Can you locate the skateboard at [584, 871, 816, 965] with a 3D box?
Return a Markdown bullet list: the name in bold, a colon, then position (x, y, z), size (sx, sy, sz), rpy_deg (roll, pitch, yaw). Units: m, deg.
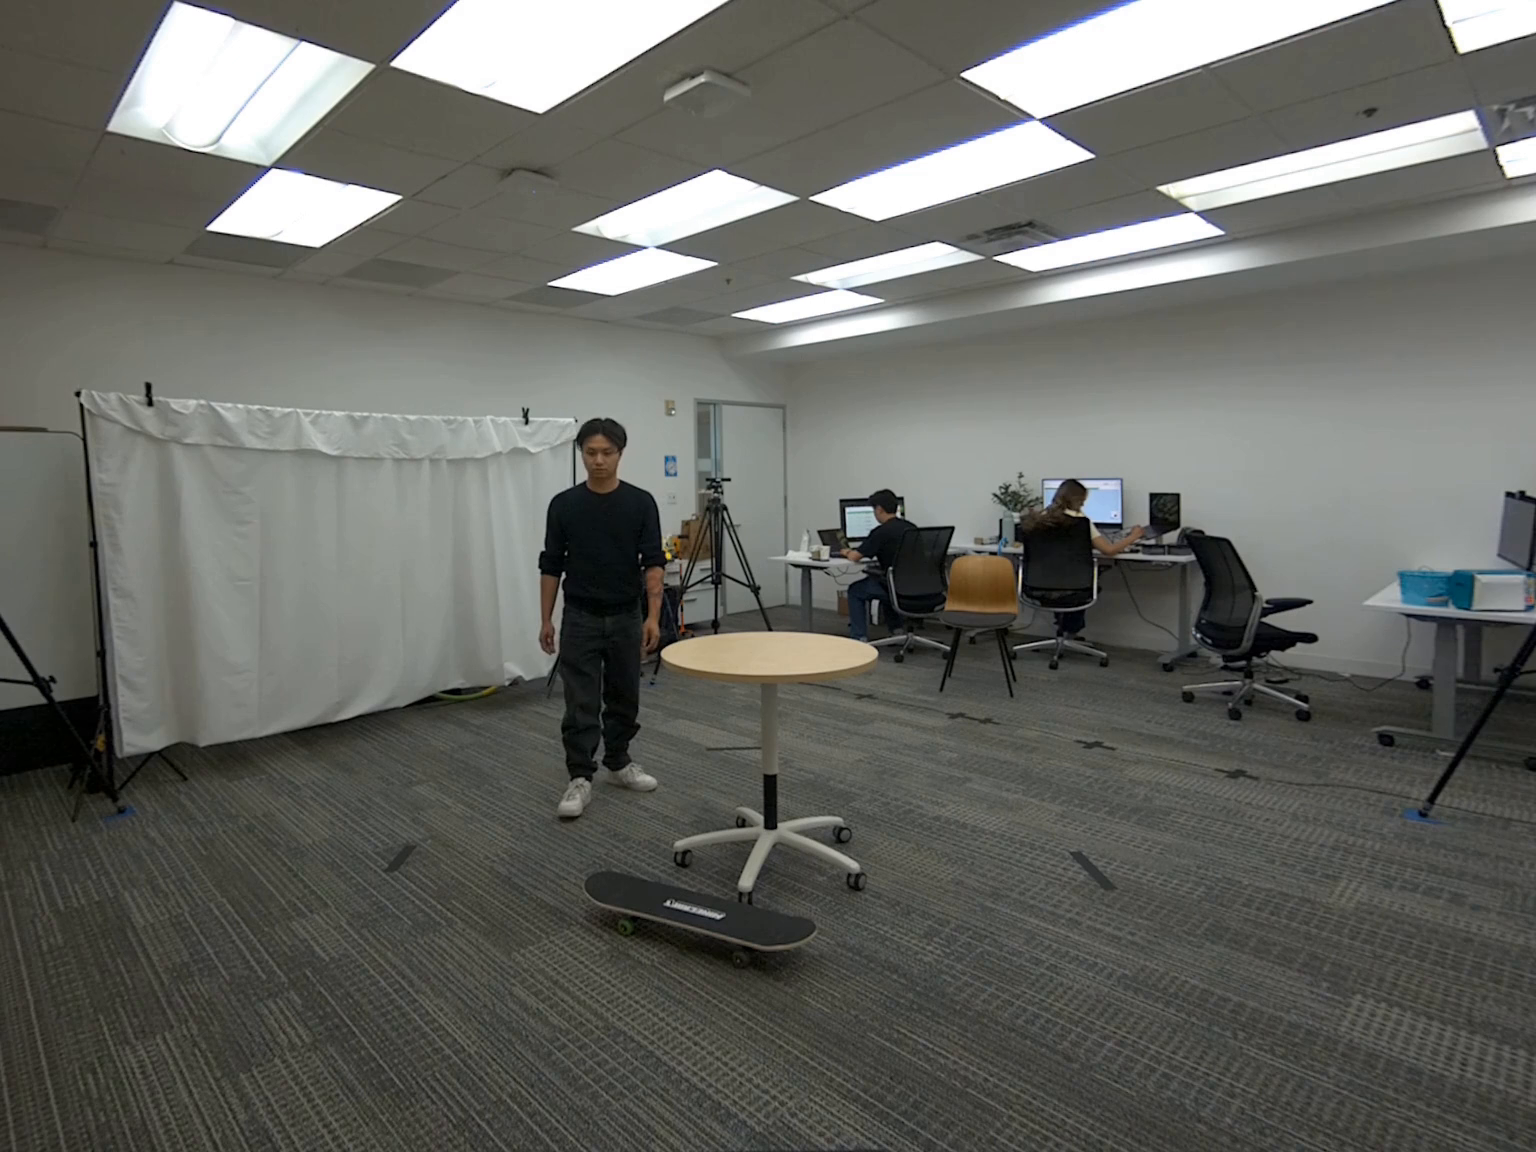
- **skateboard**: position (-0.224, 1.042, 2.604), size (0.805, 0.110, 0.189), rpy_deg (3, 7, 28)
